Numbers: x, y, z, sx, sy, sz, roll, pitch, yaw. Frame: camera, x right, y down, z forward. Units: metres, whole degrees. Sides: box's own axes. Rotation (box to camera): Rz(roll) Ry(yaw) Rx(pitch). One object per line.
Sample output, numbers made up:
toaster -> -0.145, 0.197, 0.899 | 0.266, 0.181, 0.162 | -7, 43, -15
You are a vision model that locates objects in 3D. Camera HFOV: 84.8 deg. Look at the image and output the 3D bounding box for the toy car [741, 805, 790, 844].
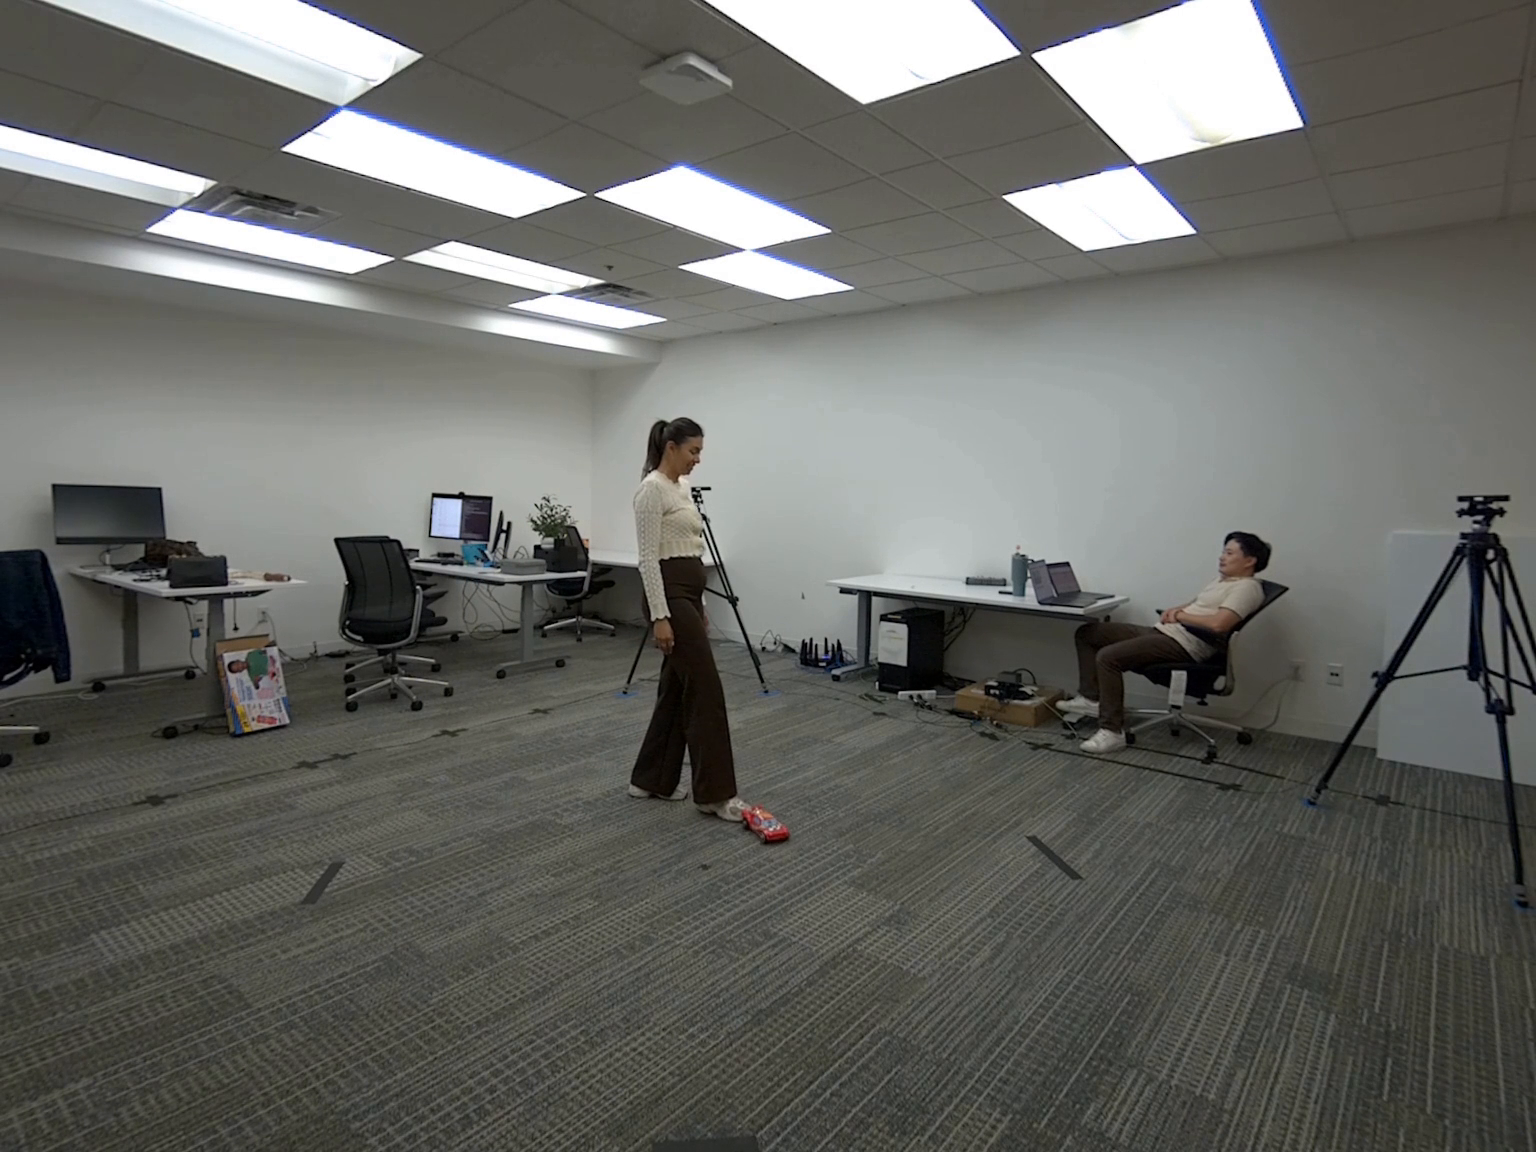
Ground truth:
toy car -> -0.027, 1.003, 3.448 | 0.127, 0.082, 0.264 | -1, 16, -28
